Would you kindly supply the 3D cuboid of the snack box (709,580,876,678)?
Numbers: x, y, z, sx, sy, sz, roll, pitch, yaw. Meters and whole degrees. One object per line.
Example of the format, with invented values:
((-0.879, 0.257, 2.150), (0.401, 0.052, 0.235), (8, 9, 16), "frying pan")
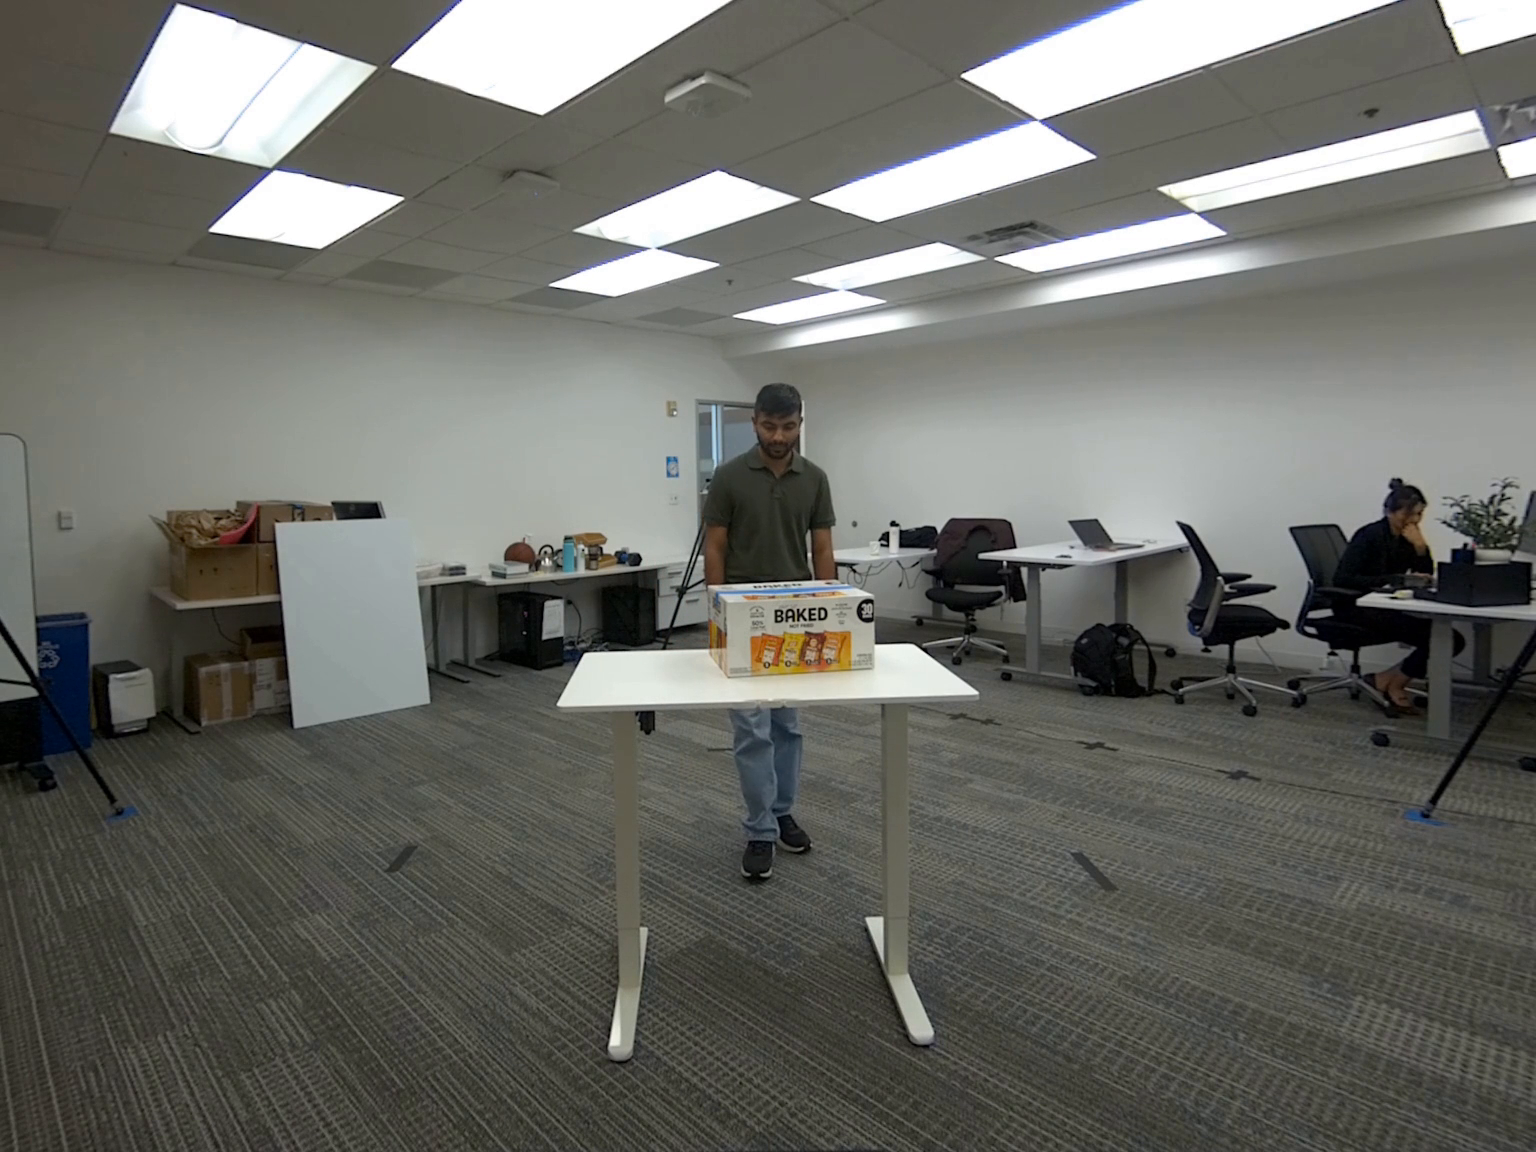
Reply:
((0.054, 0.141, 2.423), (0.401, 0.205, 0.345), (-2, 6, -11), "snack box")
